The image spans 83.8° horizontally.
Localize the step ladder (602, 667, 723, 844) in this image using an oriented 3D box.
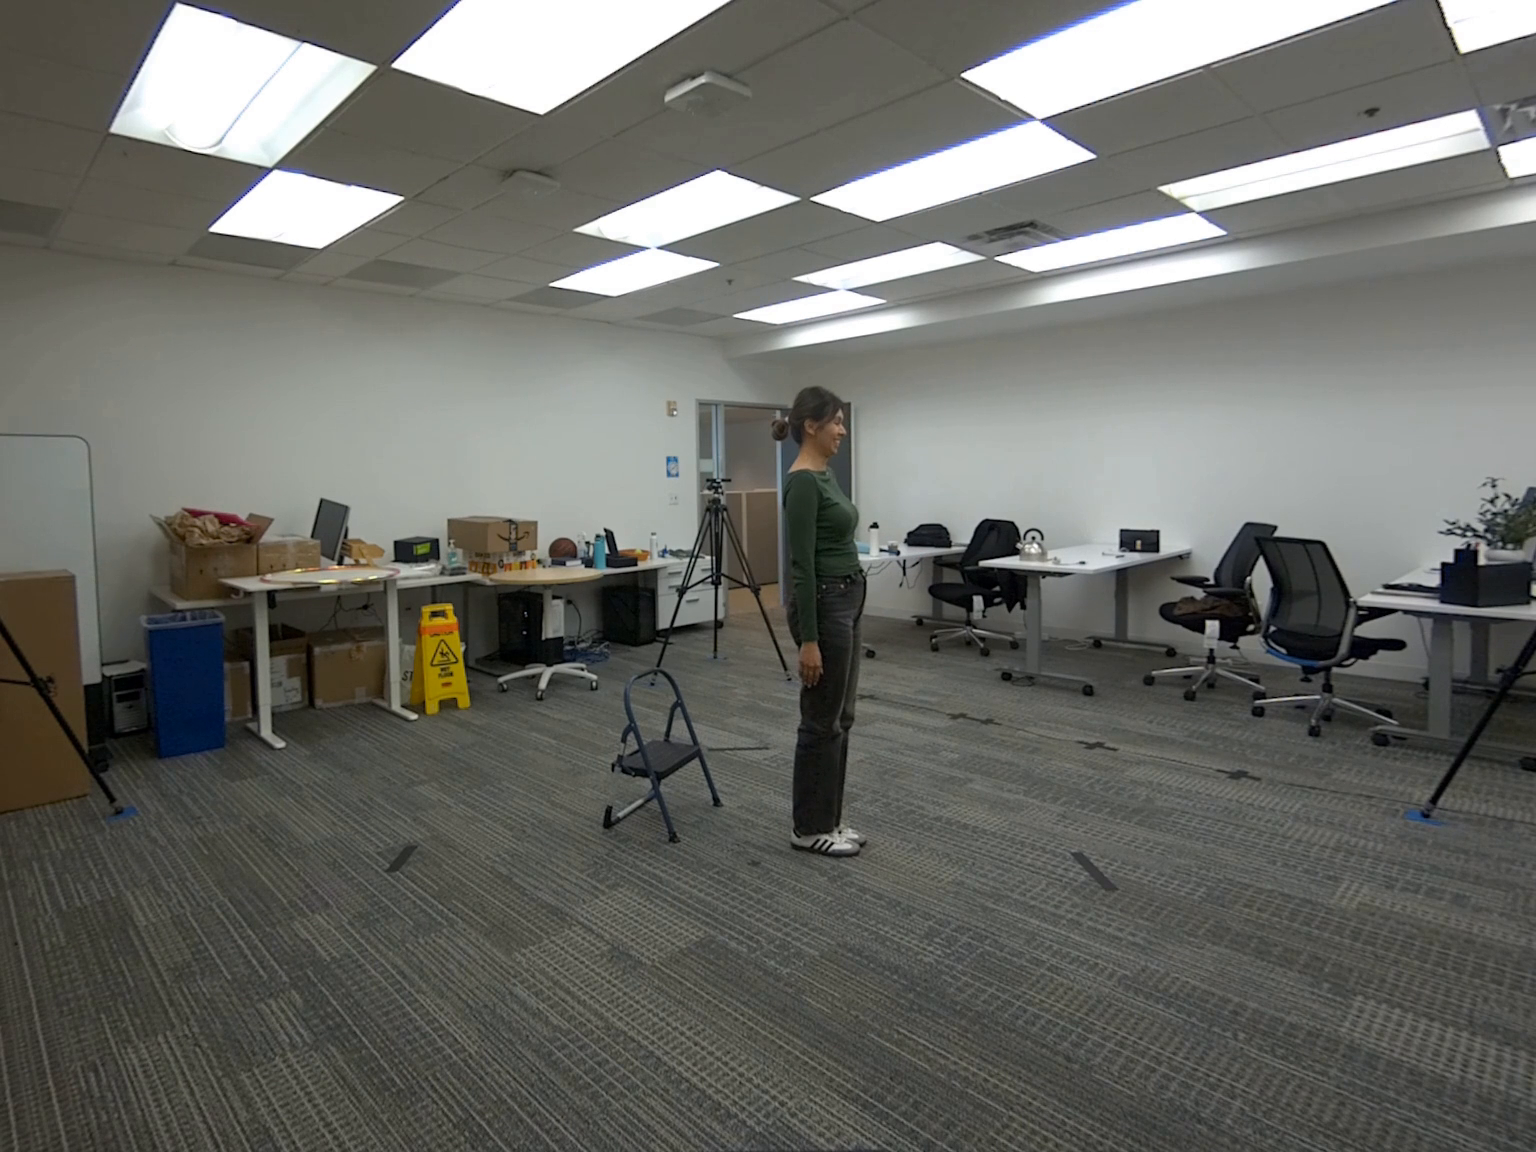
[{"bbox_3d":[-0.440,0.698,3.541,0.357,0.604,0.423,0,4,23],"label":"step ladder"}]
